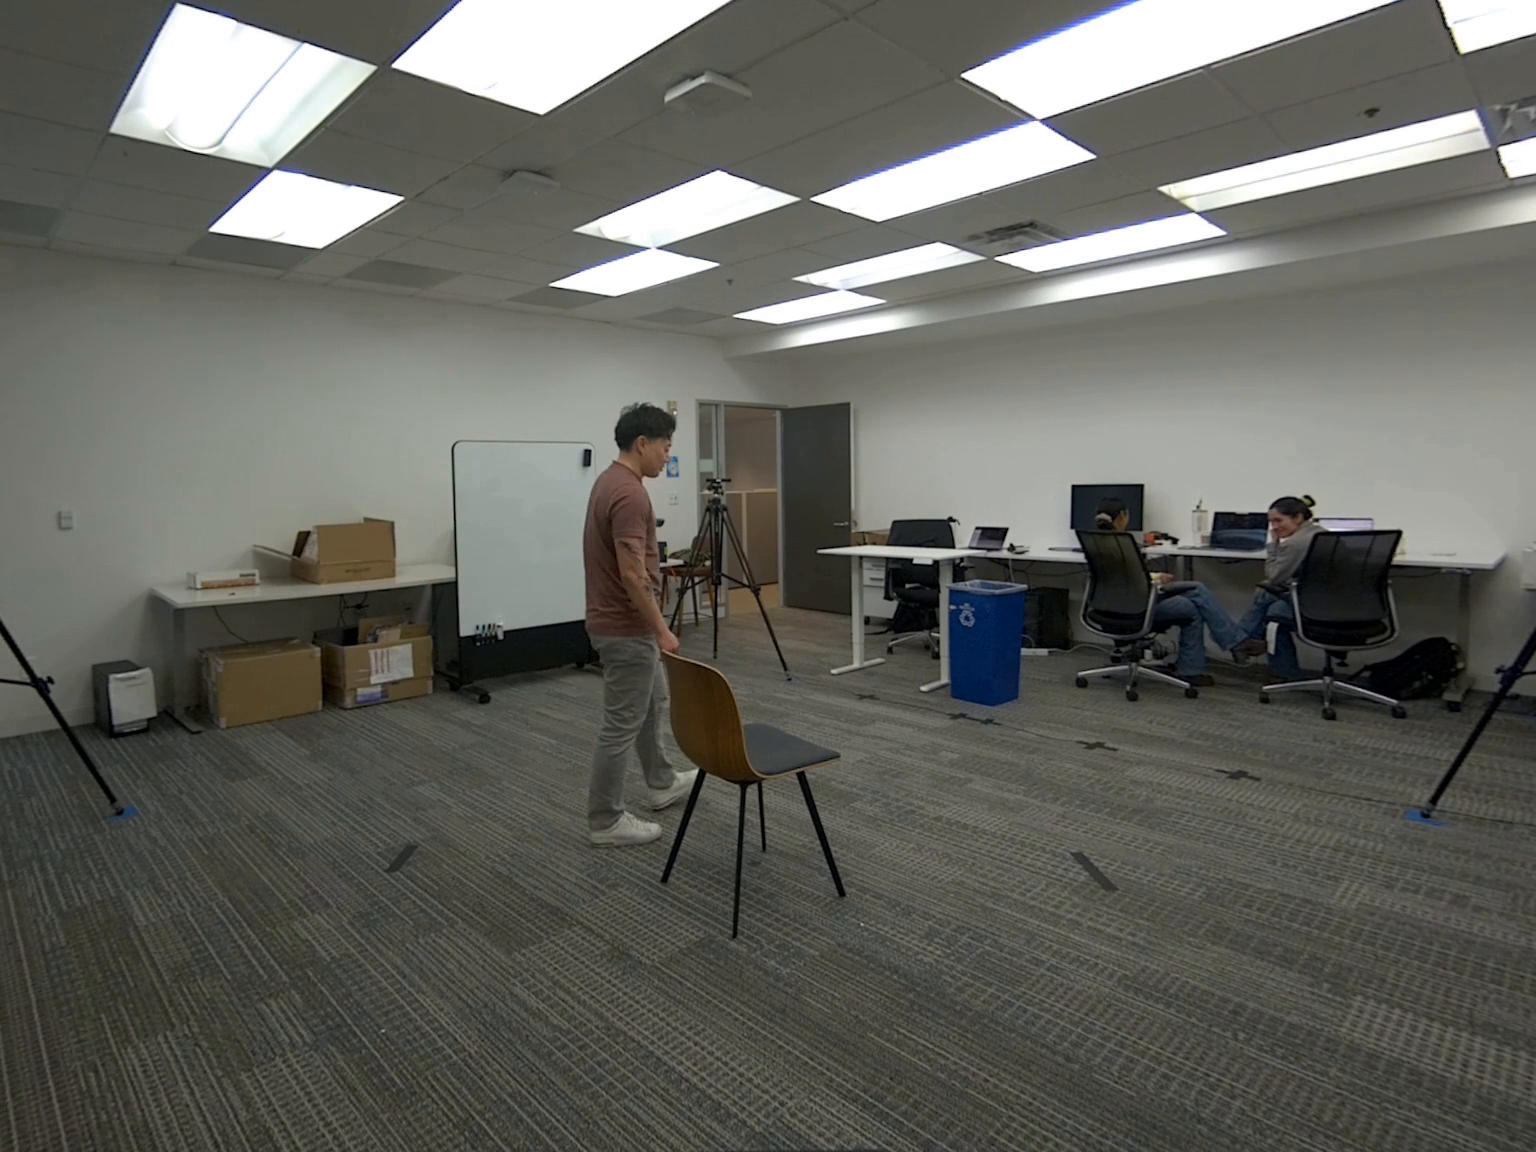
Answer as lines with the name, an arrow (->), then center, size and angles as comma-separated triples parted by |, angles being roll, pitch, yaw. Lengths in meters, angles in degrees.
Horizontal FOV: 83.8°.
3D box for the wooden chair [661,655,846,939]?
wooden chair -> -0.054, 0.644, 2.873 | 0.511, 0.872, 0.492 | -9, 8, -35
